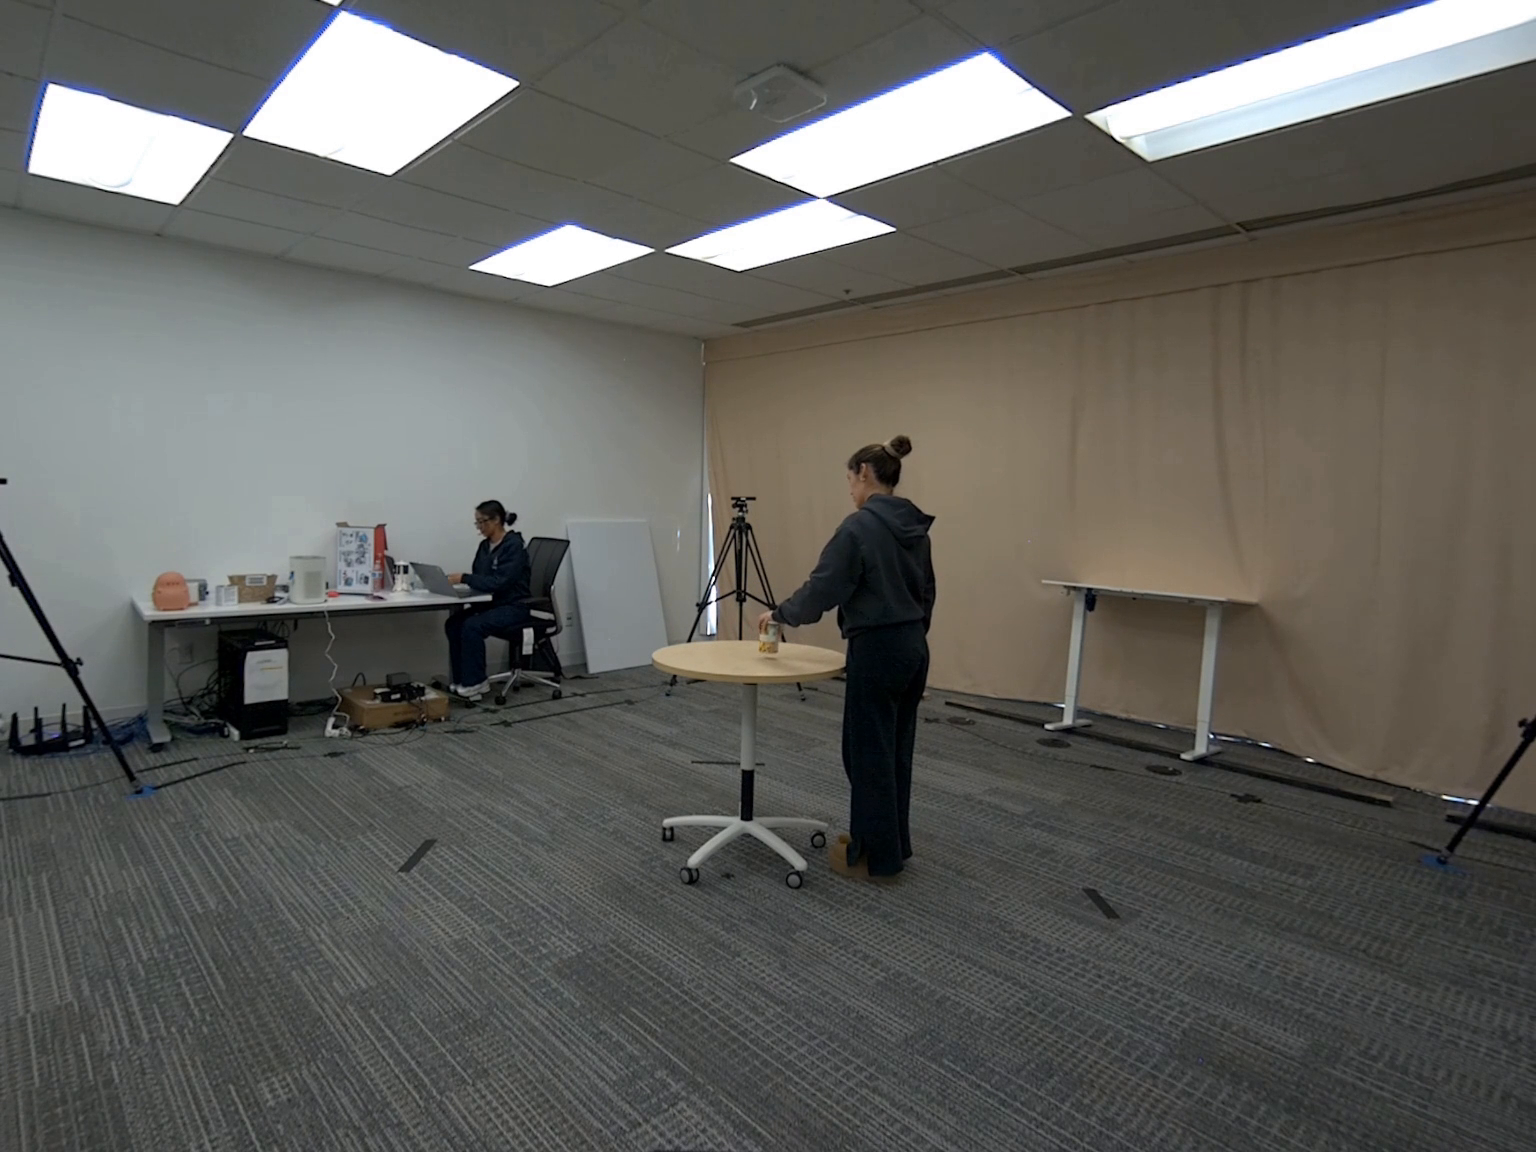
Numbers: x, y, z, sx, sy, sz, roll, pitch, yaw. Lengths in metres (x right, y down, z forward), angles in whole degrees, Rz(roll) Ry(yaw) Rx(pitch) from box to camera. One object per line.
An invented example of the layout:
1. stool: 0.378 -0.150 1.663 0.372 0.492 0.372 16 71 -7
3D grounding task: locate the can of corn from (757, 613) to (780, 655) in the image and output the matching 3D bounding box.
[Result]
1. can of corn: 0.002 0.236 3.219 0.074 0.110 0.075 4 8 -2
